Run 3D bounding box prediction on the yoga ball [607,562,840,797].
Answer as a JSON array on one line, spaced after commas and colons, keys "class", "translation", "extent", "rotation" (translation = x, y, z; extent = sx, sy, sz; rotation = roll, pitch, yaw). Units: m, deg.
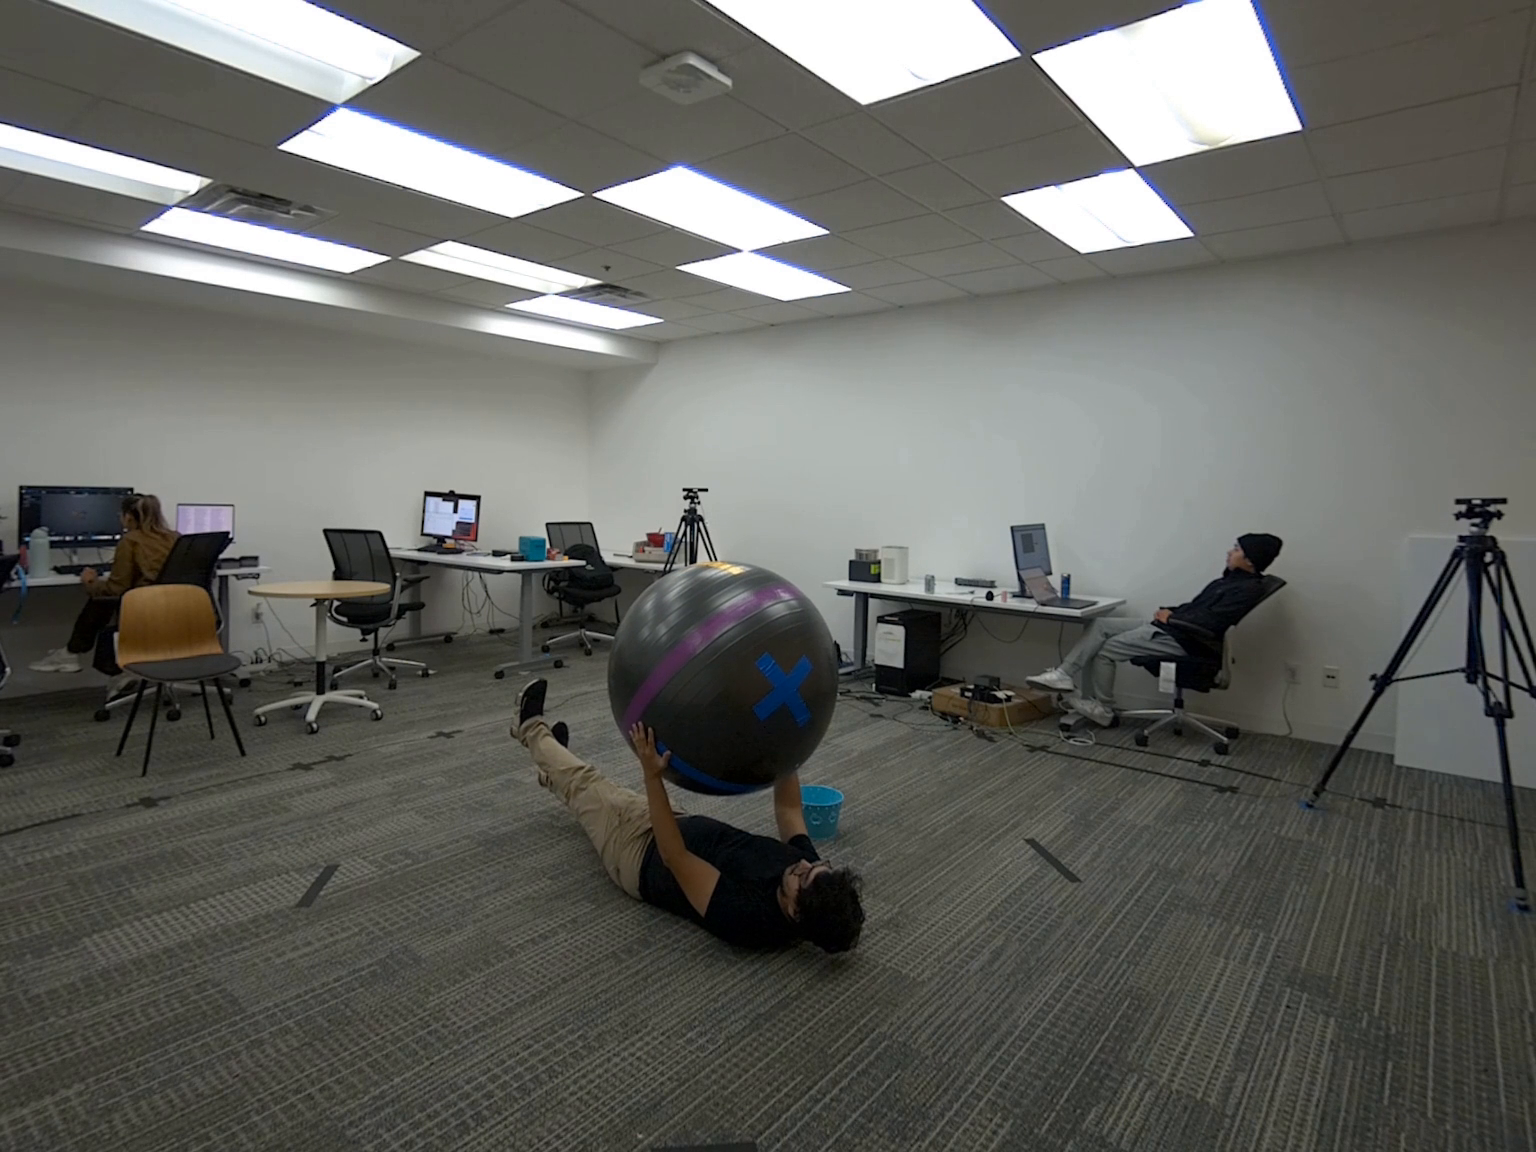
[{"class": "yoga ball", "translation": [-0.157, 0.336, 2.794], "extent": [0.757, 0.756, 0.761], "rotation": [0, 4, -2]}]
